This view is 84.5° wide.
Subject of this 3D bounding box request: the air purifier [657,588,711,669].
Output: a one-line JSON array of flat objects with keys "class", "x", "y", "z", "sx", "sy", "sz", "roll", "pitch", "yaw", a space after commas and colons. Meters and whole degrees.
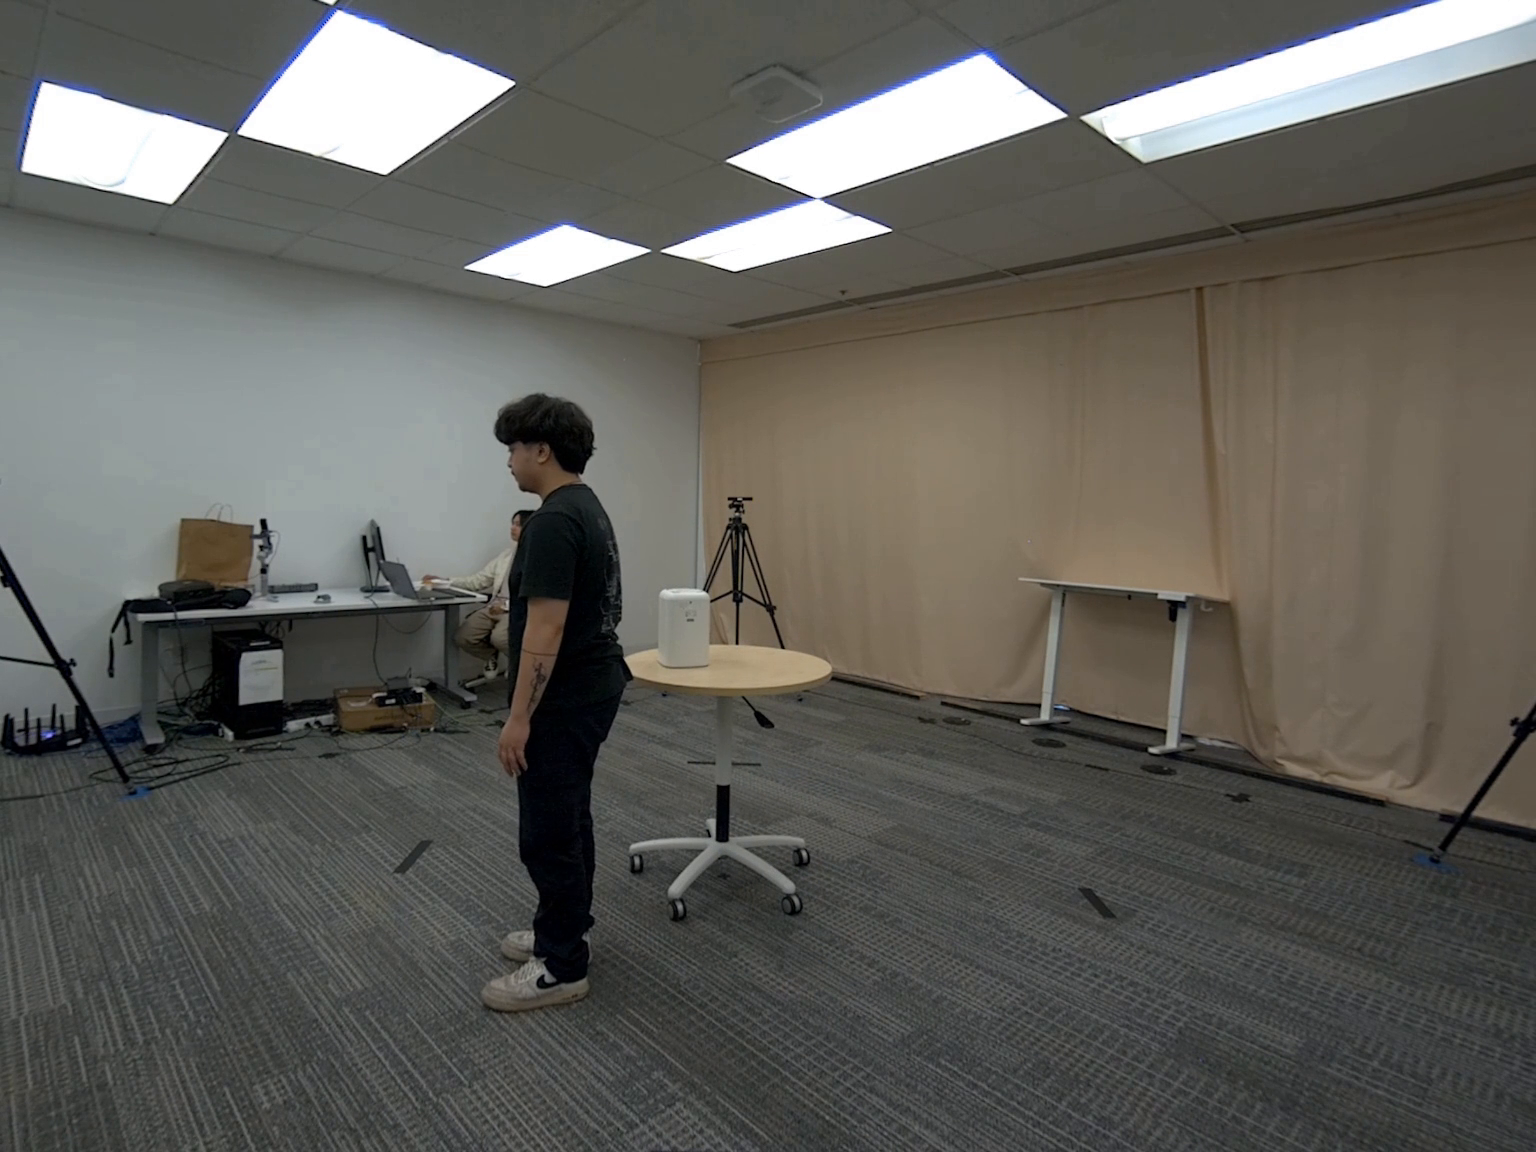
[{"class": "air purifier", "x": -0.316, "y": 0.185, "z": 3.036, "sx": 0.168, "sy": 0.264, "sz": 0.175, "roll": -1, "pitch": 5, "yaw": -21}]
